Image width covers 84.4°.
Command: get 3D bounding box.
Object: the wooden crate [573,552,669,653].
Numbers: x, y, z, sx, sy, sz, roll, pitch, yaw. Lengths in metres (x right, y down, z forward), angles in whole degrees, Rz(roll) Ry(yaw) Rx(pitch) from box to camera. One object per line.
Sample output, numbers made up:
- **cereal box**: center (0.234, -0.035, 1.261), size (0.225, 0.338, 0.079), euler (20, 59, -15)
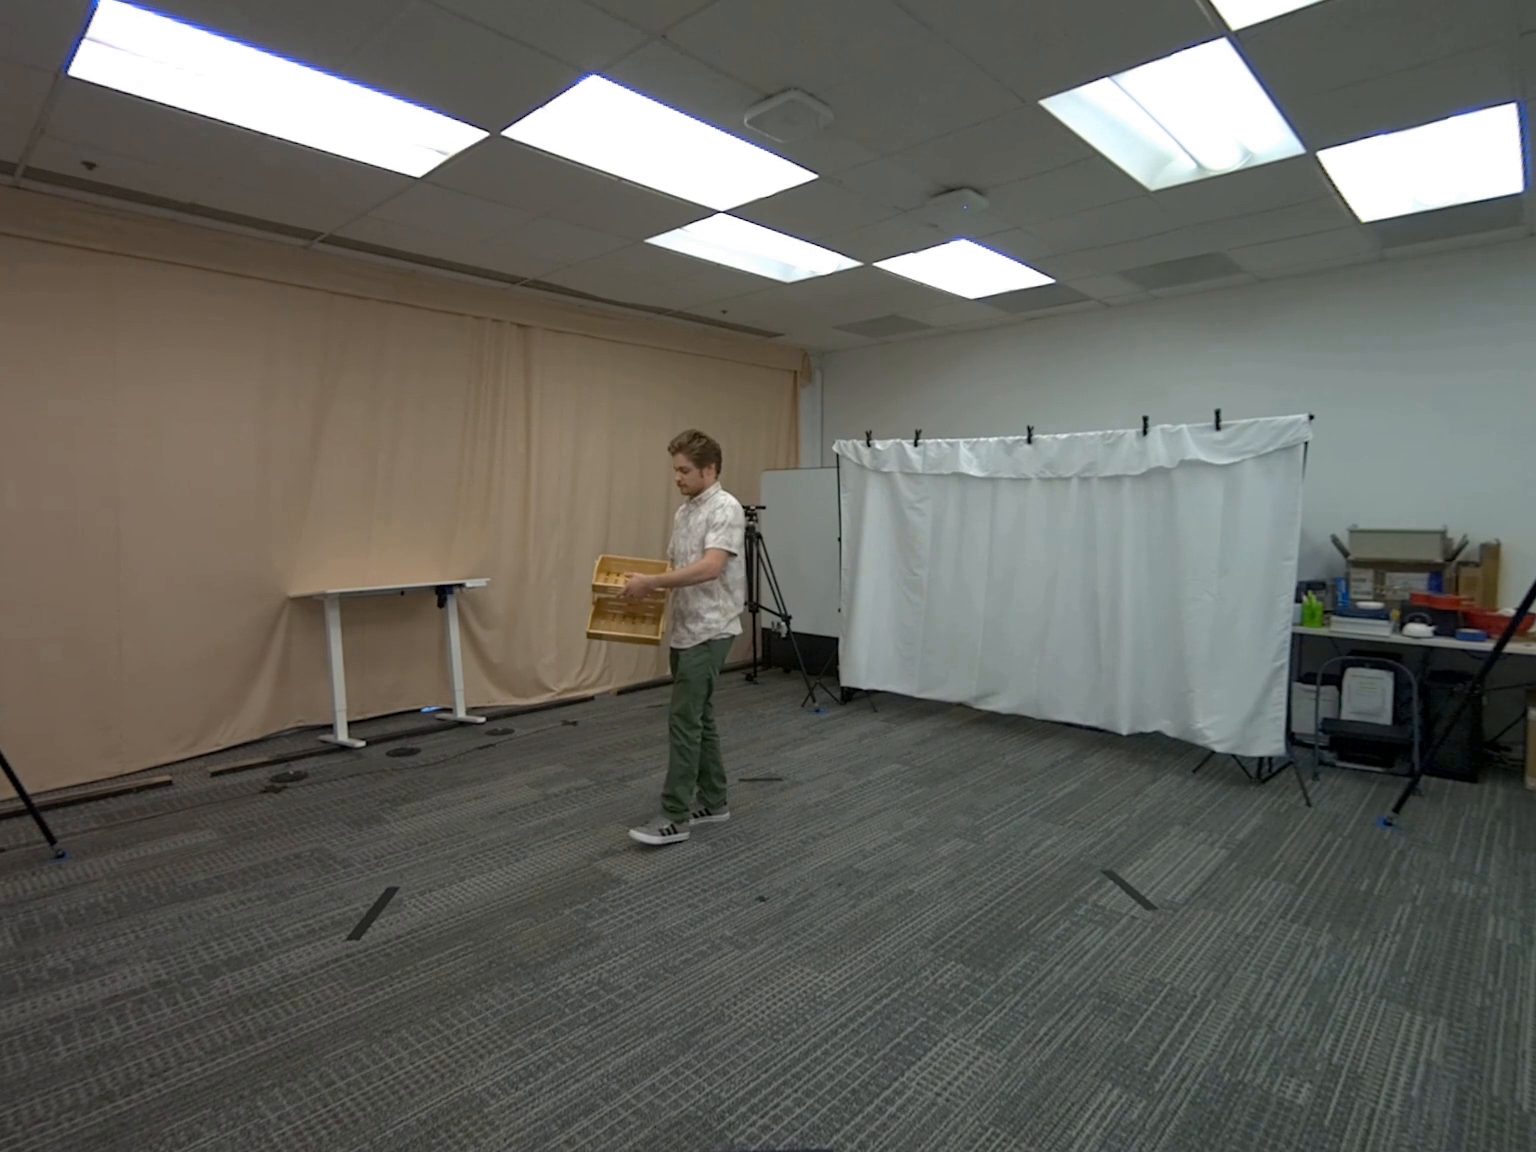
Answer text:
- **wooden crate**: center (-0.600, 0.102, 3.483), size (0.325, 0.270, 0.304), euler (8, 21, 1)
